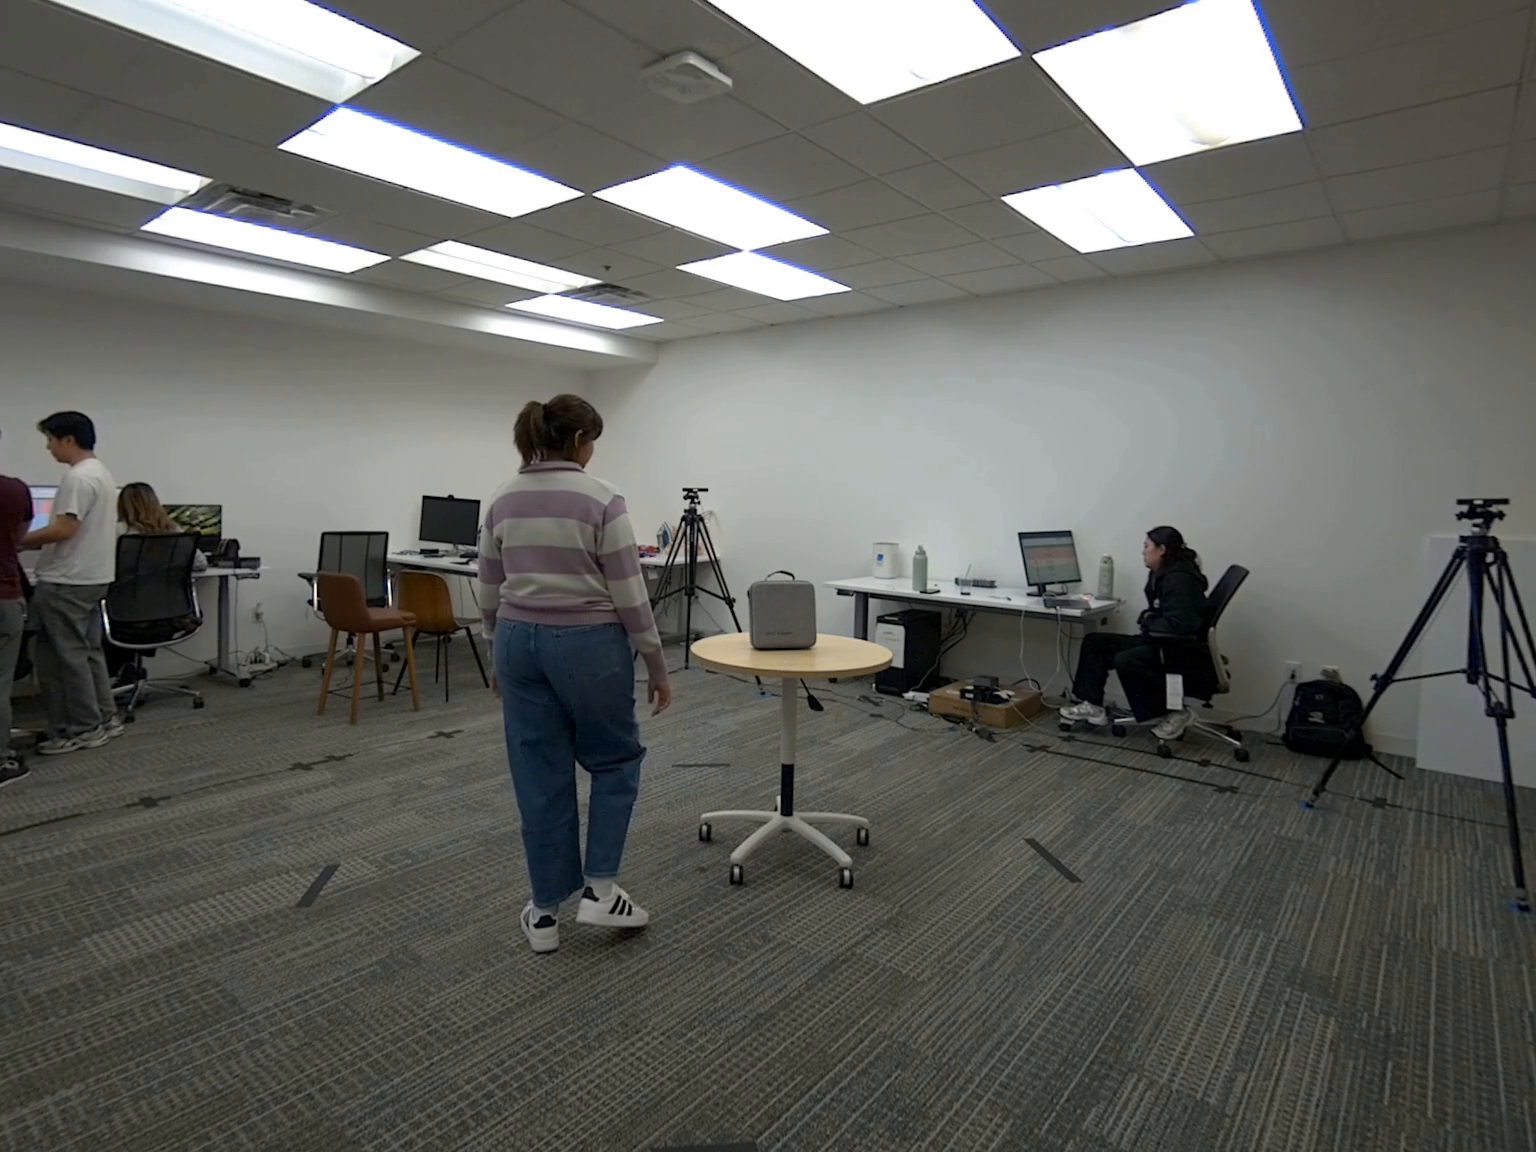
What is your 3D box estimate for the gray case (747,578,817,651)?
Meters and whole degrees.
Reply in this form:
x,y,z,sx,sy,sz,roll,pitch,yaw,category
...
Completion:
x,y,z,sx,sy,sz,roll,pitch,yaw,category
0.045,0.144,3.277,0.254,0.262,0.105,1,-6,-11,gray case
